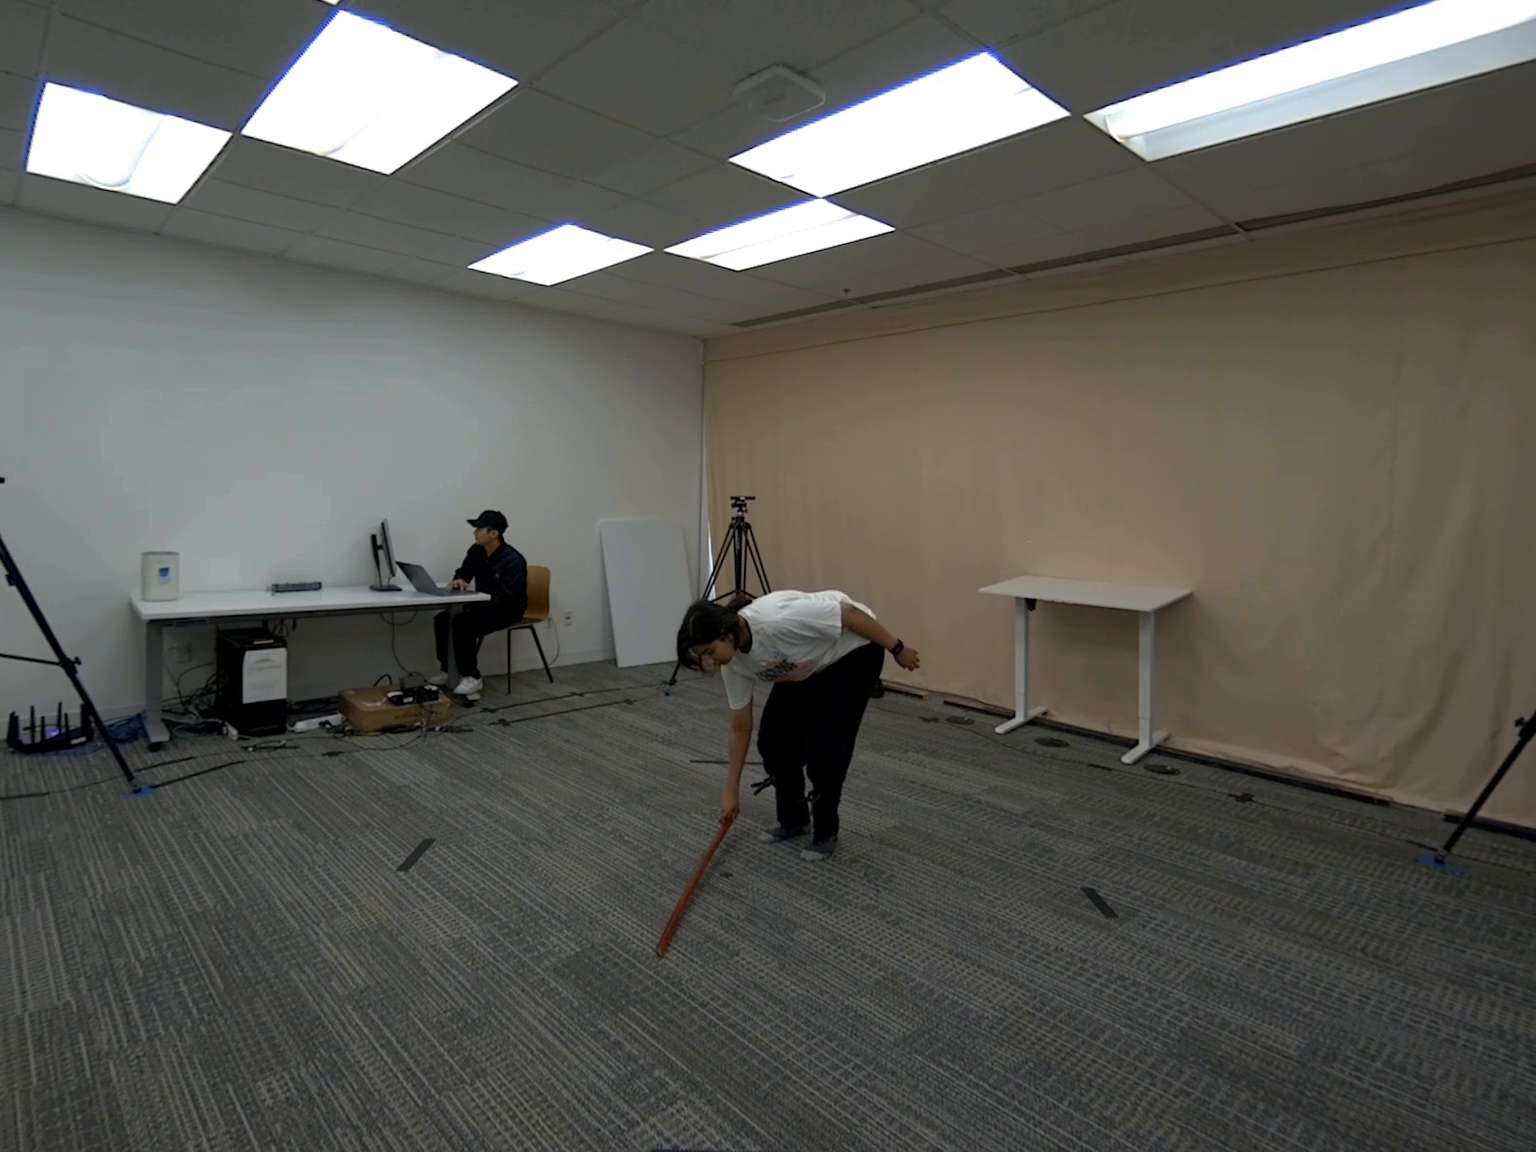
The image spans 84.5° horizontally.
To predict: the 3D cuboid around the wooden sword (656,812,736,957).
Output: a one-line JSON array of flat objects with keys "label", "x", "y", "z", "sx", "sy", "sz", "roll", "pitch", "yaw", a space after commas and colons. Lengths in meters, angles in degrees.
[{"label": "wooden sword", "x": -0.254, "y": 1.063, "z": 3.030, "sx": 0.051, "sy": 0.024, "sz": 1.023, "roll": 21, "pitch": 12, "yaw": 4}]
